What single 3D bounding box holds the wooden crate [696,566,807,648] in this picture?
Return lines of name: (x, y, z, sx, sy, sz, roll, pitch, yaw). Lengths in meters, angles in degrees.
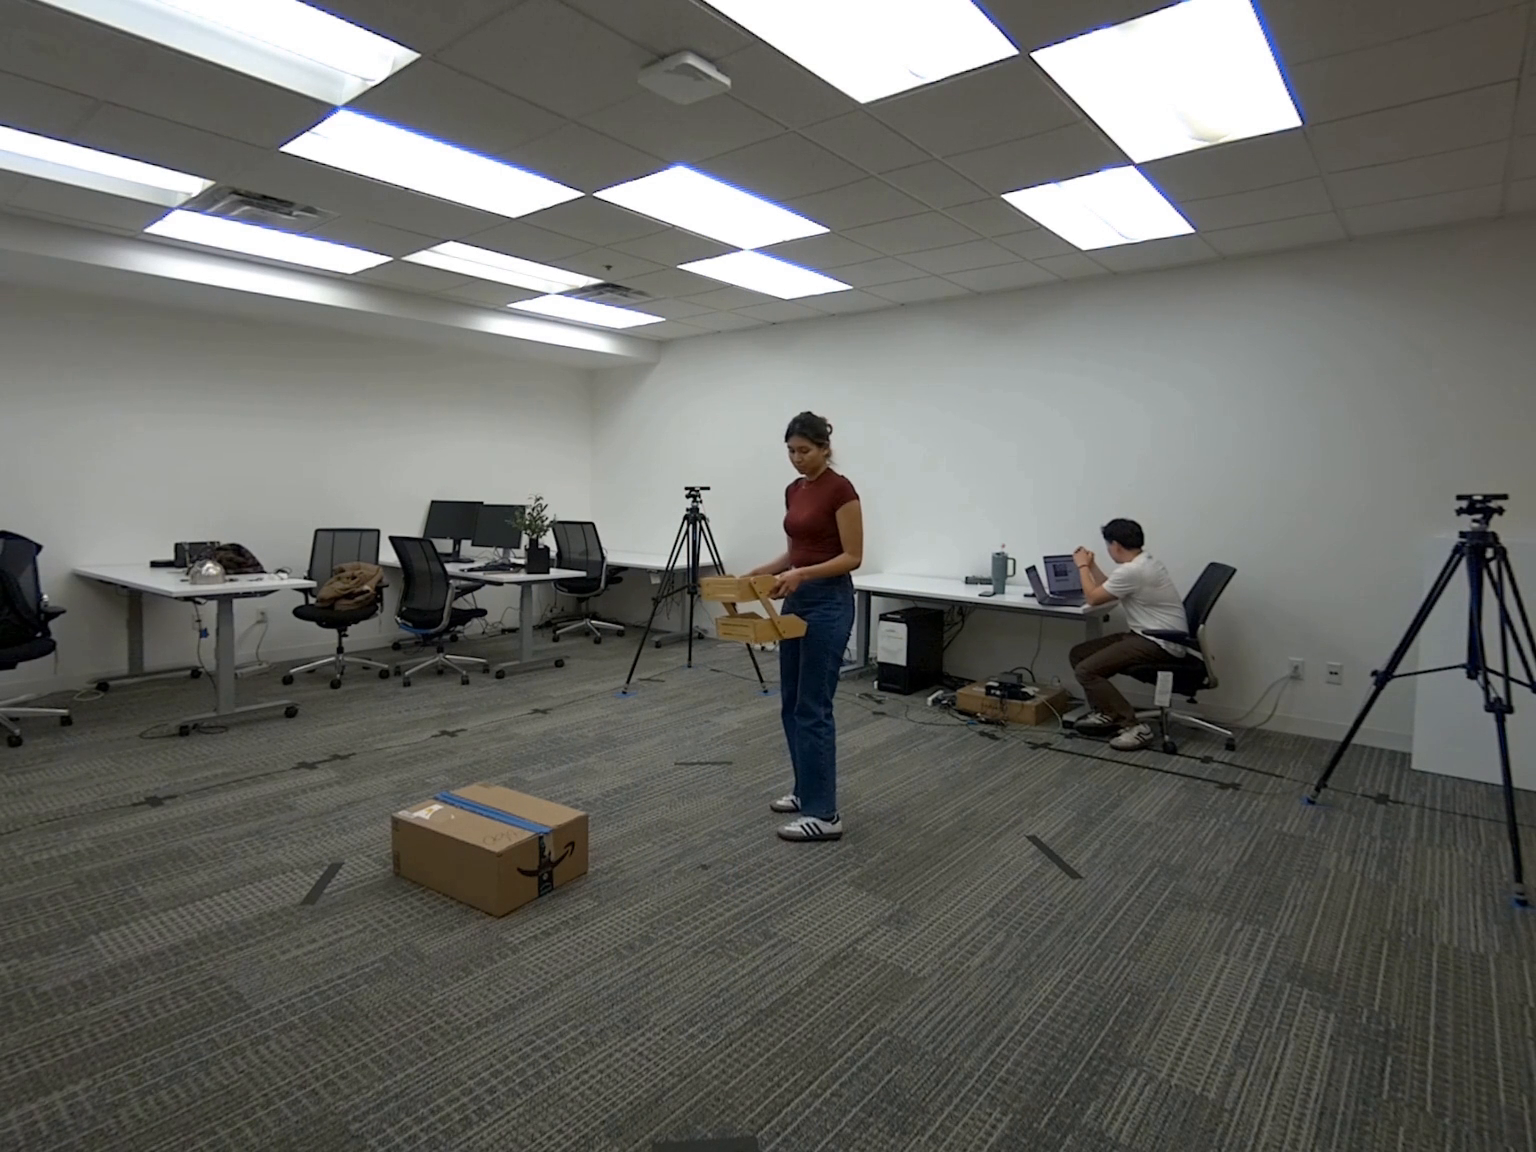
wooden crate: (-0.067, 0.114, 3.440, 0.294, 0.273, 0.333, -8, 4, -33)
